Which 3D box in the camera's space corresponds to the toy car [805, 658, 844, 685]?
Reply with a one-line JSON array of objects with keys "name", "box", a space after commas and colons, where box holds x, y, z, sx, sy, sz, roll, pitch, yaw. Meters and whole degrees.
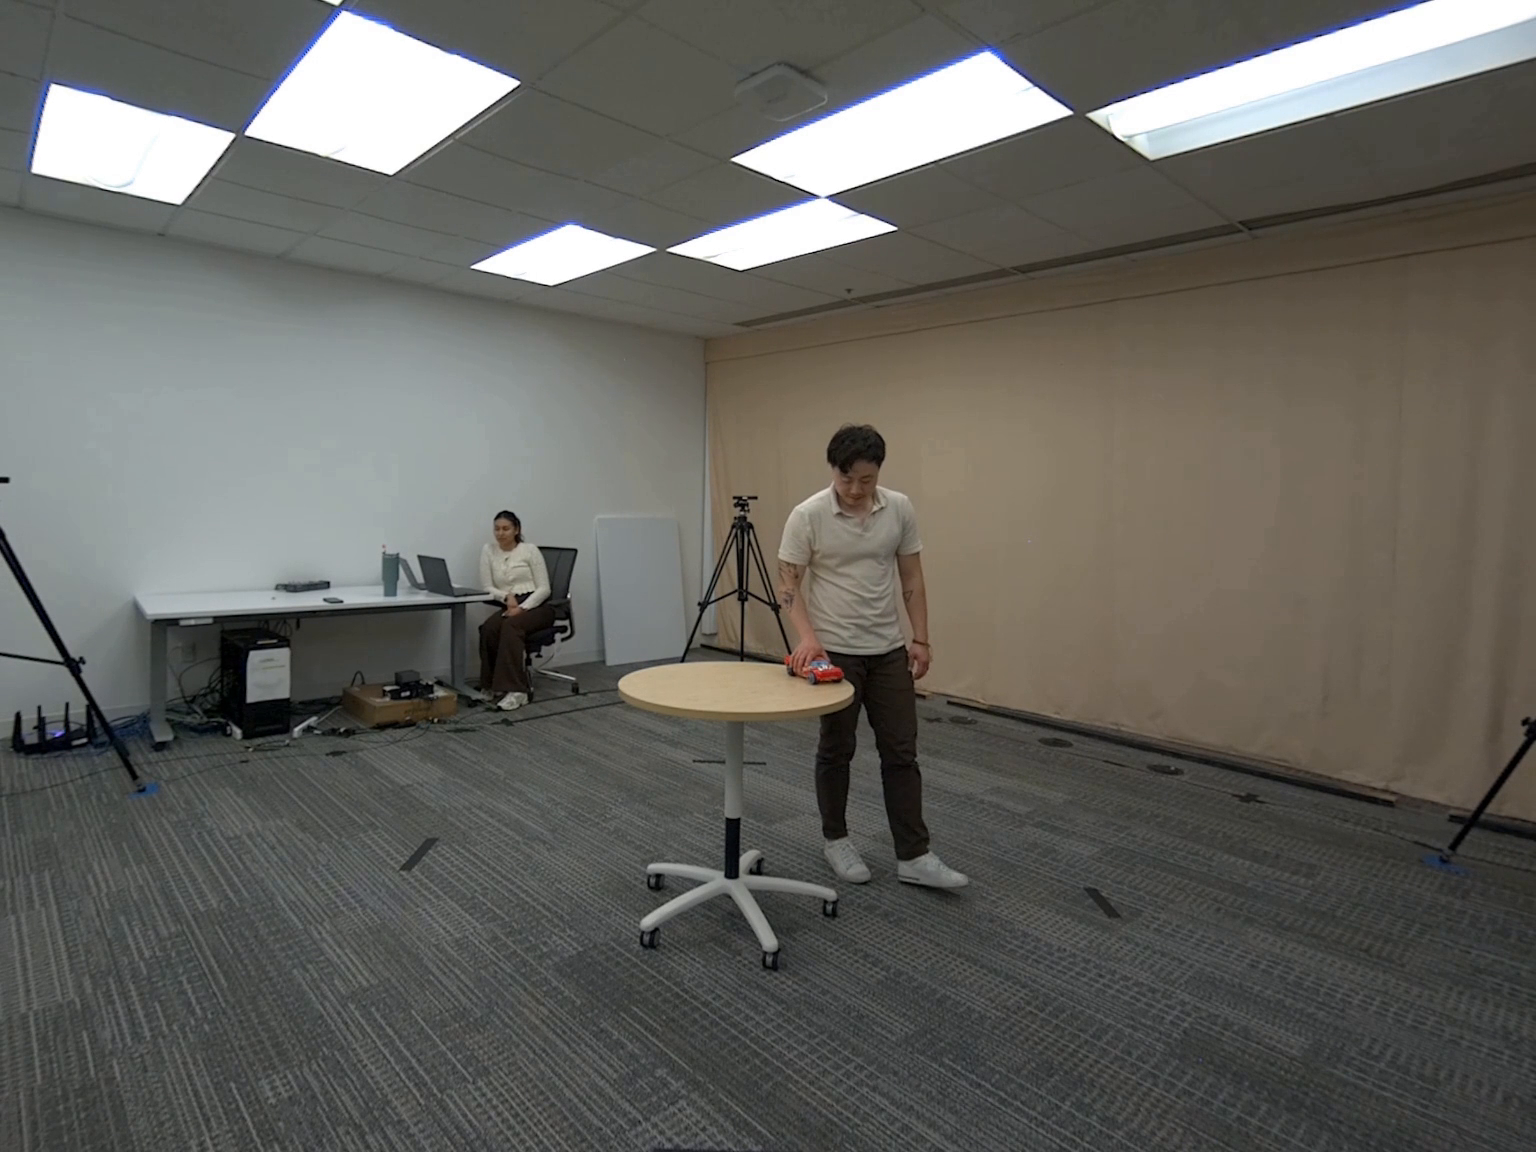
[{"name": "toy car", "box": [0.141, 0.318, 2.864, 0.128, 0.082, 0.261, -3, 17, -26]}]
